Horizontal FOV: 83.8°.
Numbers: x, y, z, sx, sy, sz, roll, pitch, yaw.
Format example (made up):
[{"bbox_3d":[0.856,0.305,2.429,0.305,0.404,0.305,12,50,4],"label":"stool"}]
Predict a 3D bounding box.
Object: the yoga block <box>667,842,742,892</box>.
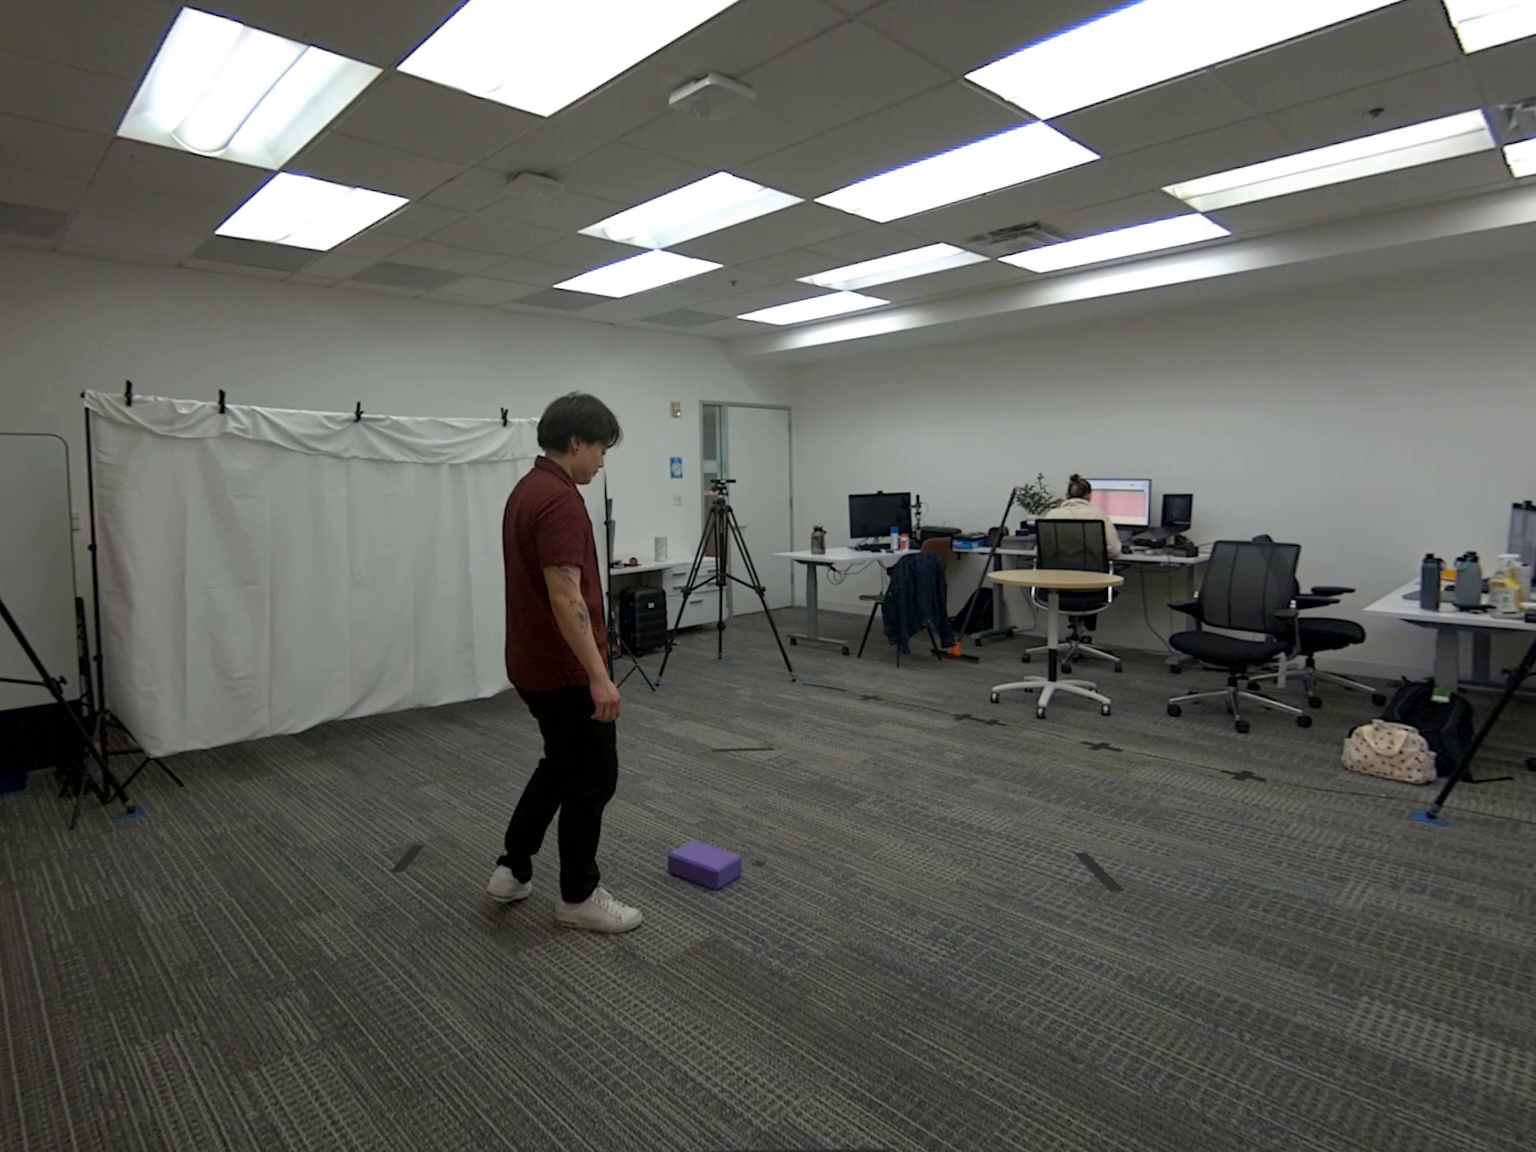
[{"bbox_3d":[-0.223,1.020,3.023,0.236,0.076,0.145,4,8,37],"label":"yoga block"}]
